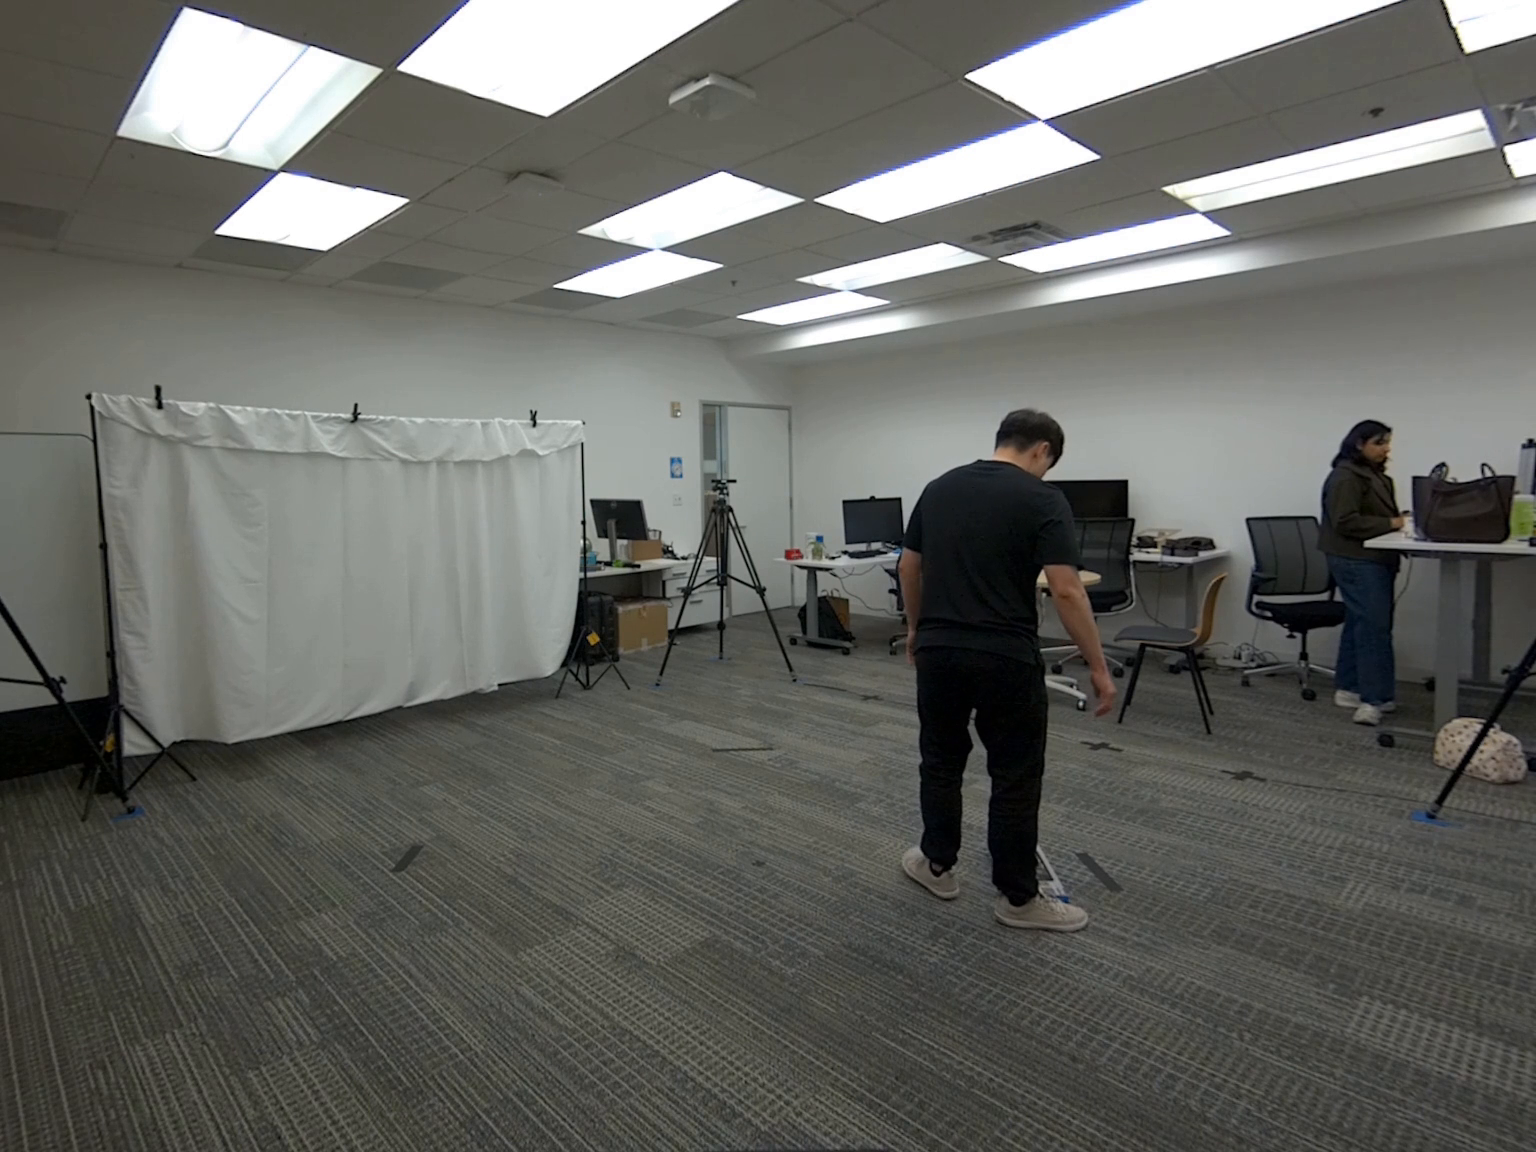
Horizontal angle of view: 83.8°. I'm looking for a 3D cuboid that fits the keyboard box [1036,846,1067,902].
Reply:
[{"bbox_3d":[0.885,1.021,2.931,0.177,0.059,0.436,0,6,4],"label":"keyboard box"}]
